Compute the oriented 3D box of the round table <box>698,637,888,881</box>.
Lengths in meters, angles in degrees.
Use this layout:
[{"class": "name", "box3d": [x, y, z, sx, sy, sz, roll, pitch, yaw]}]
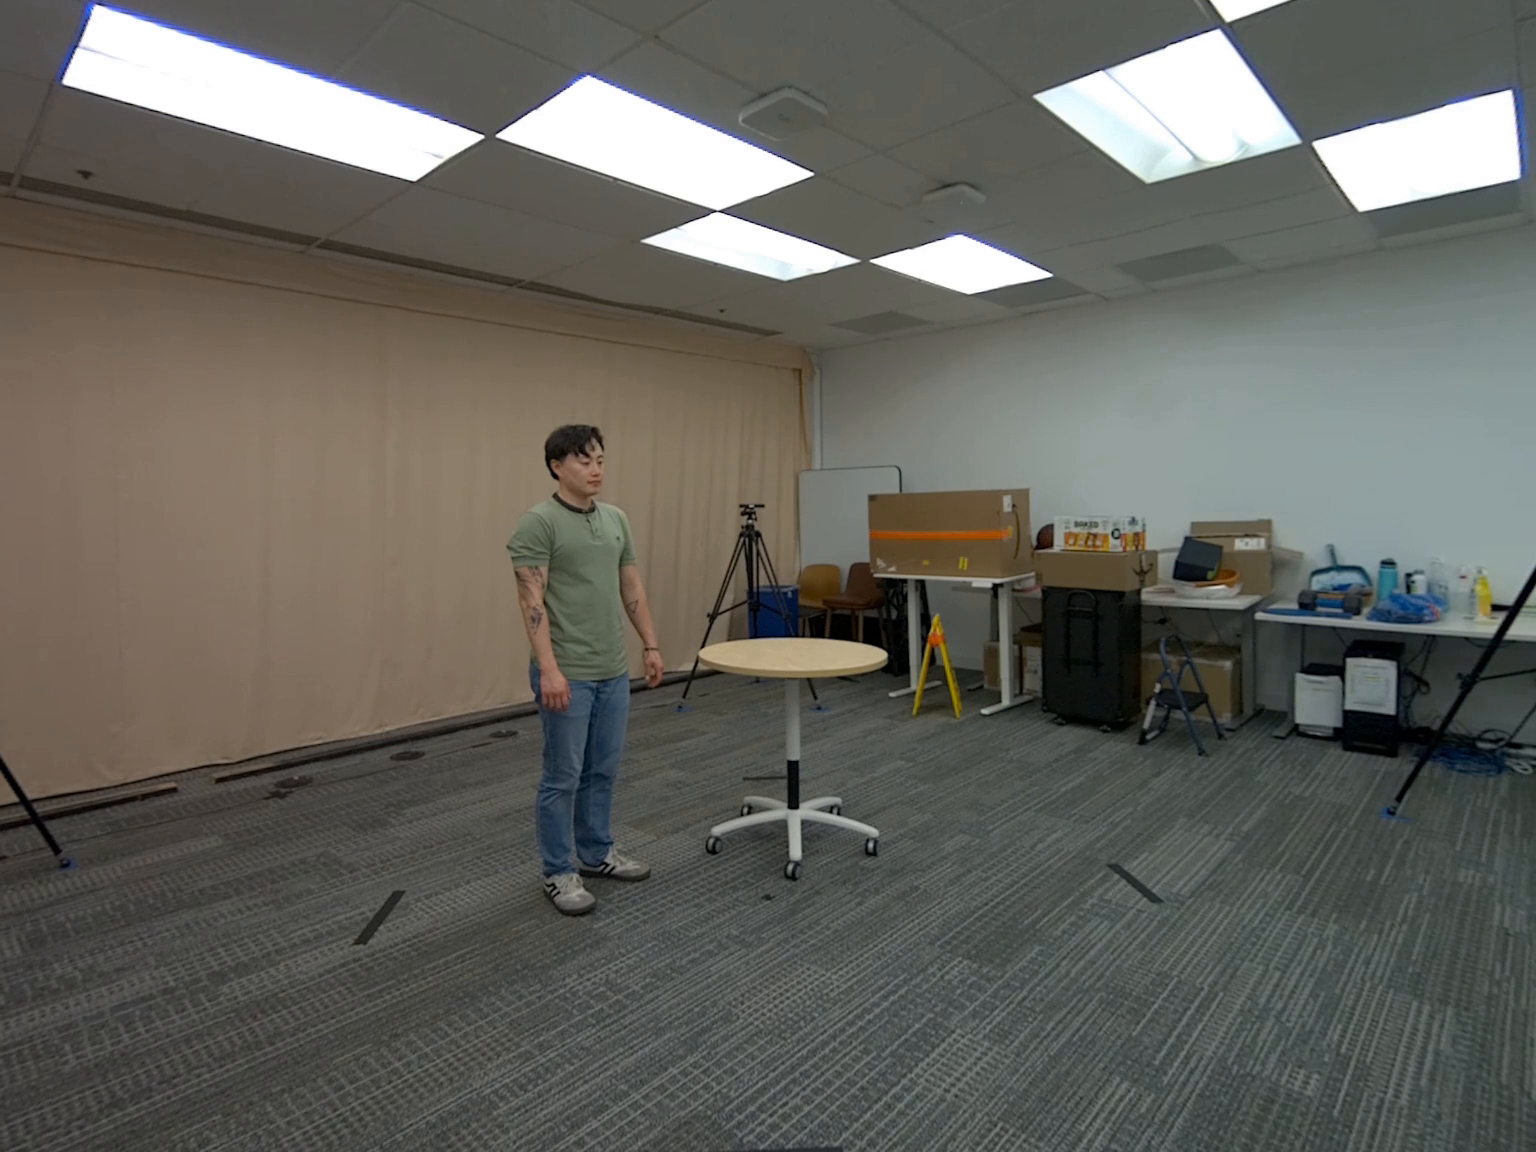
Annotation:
[{"class": "round table", "box3d": [0.108, 0.707, 3.455, 0.763, 0.792, 0.766, 0, 3, -2]}]
